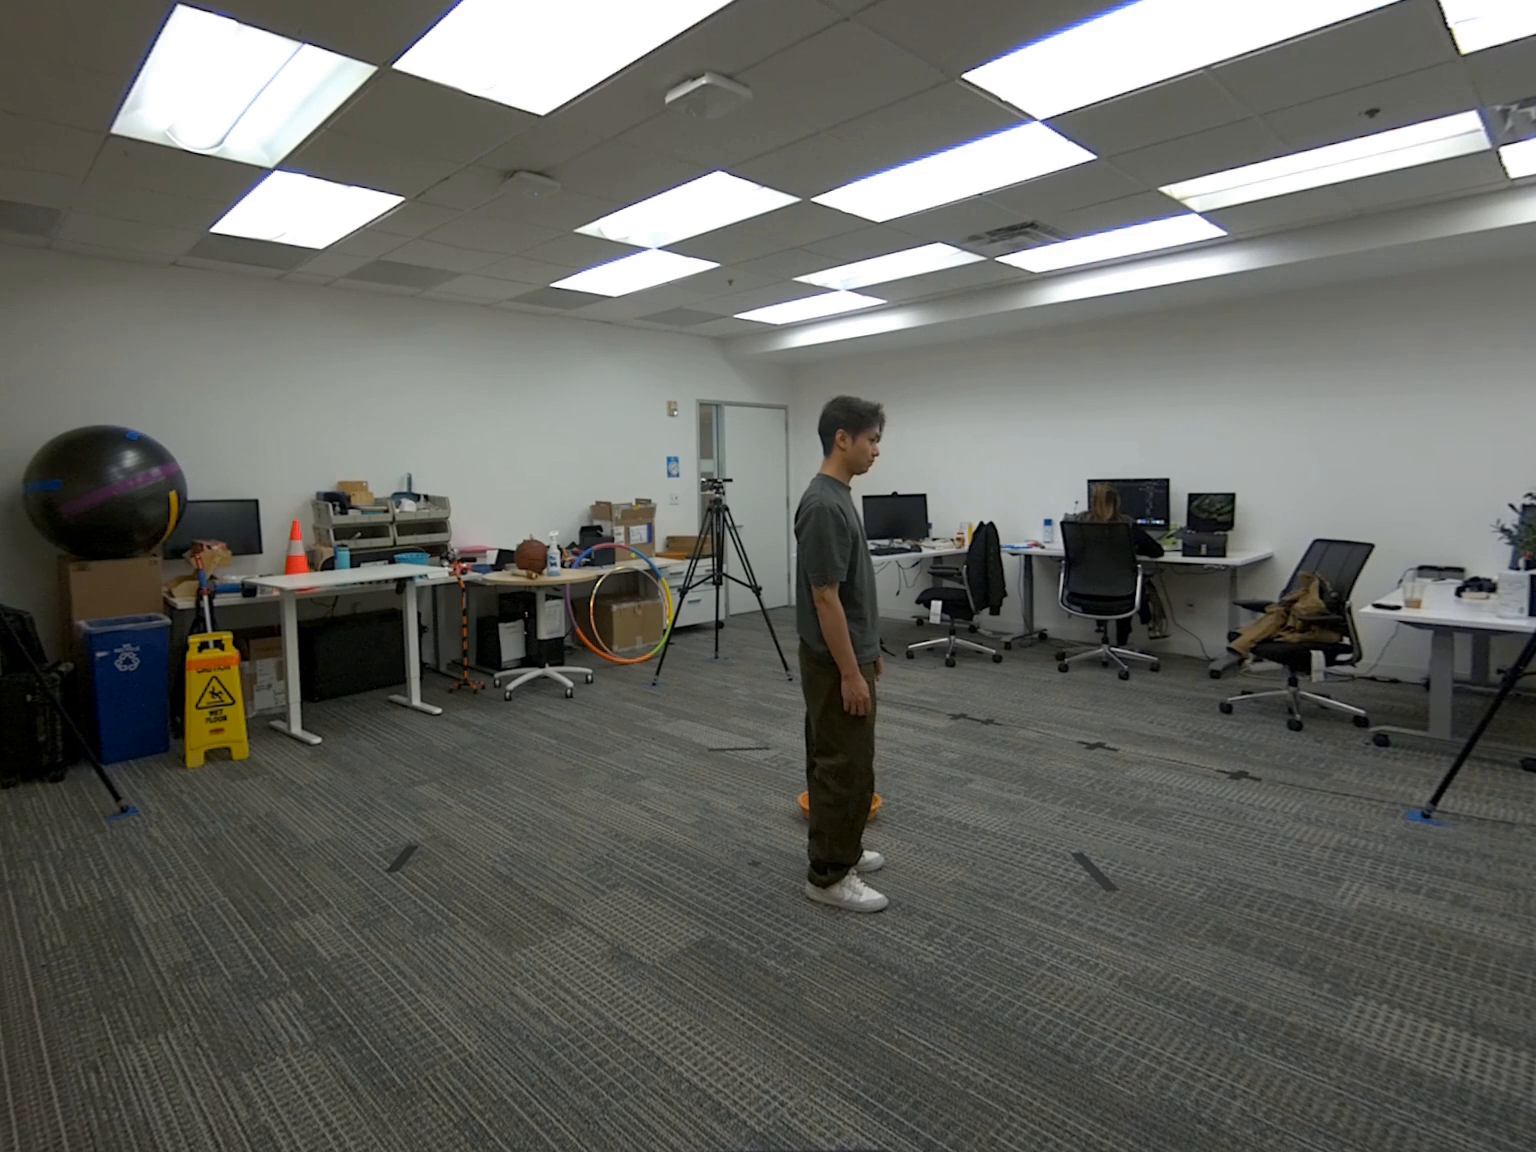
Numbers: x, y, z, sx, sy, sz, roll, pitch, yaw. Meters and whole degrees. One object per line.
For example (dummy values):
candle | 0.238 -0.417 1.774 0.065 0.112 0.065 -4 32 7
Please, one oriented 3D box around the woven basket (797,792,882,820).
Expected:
woven basket | 0.301 0.958 3.526 0.349 0.073 0.255 -1 7 -4
